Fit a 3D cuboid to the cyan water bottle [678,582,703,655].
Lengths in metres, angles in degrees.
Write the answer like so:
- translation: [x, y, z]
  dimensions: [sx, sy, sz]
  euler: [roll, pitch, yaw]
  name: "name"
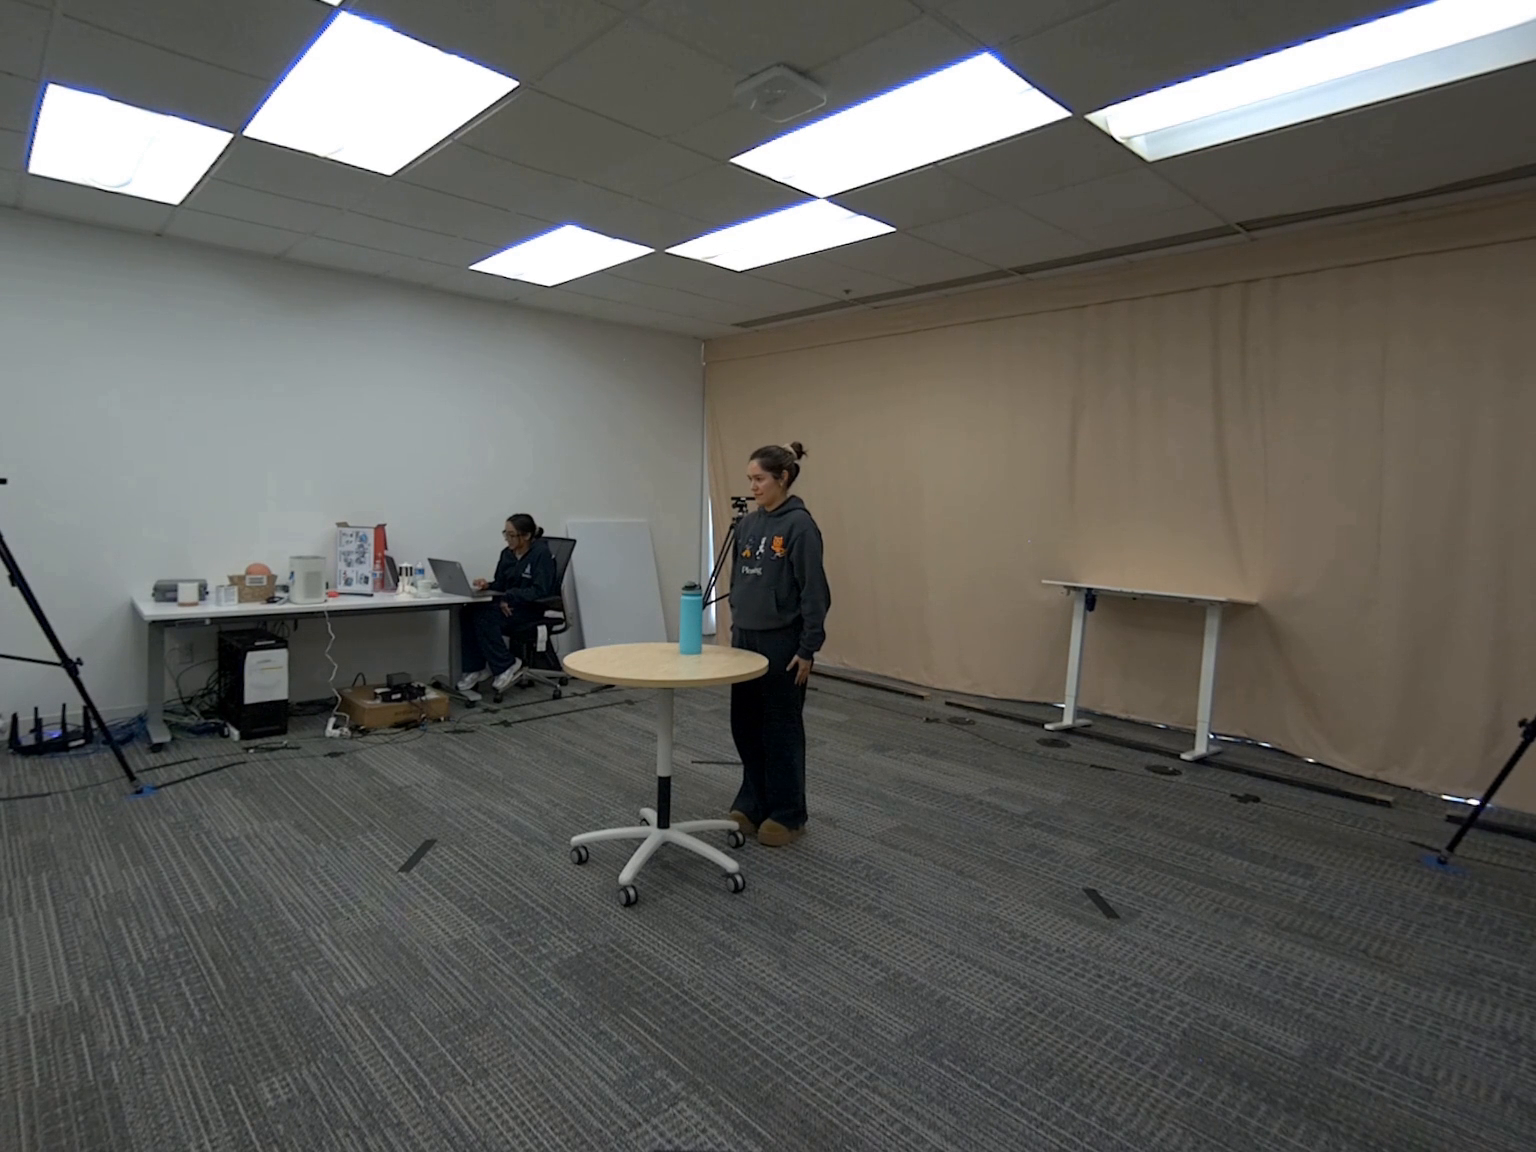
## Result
- translation: [-0.313, 0.163, 3.315]
  dimensions: [0.092, 0.283, 0.092]
  euler: [1, -1, -1]
  name: "cyan water bottle"
